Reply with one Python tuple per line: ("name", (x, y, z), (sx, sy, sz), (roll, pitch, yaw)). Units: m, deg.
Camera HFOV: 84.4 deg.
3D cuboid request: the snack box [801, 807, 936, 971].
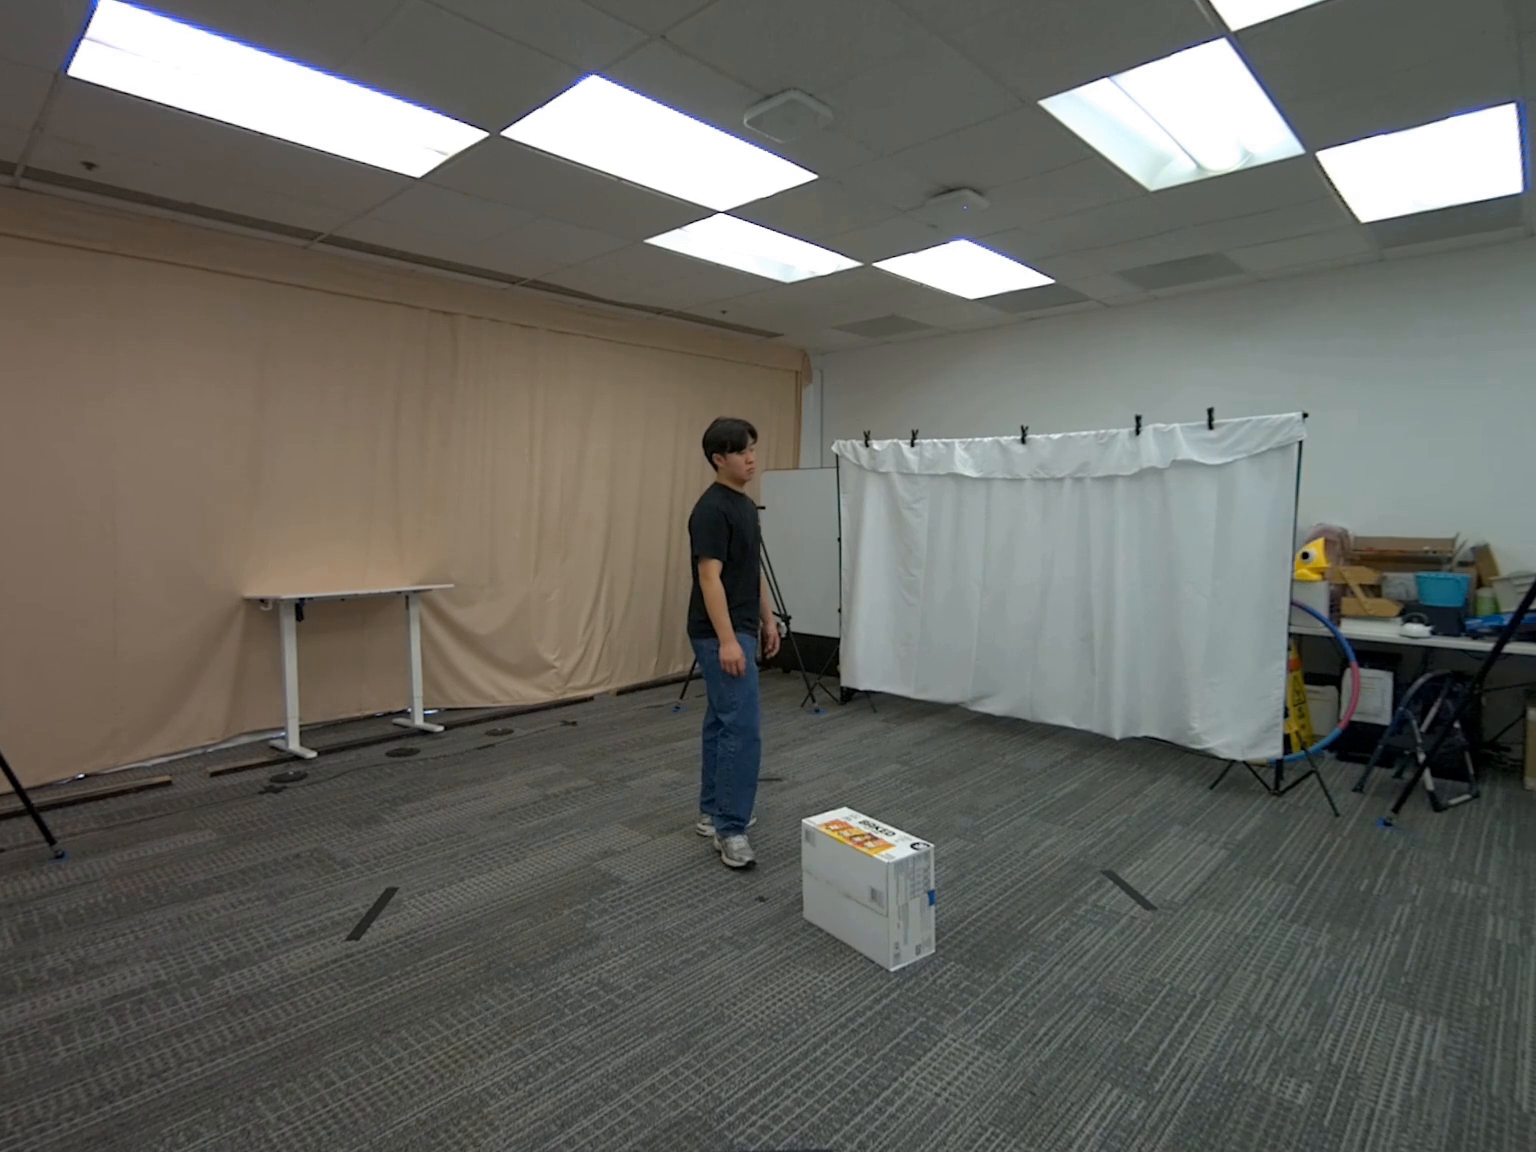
("snack box", (0.324, 0.996, 2.719), (0.200, 0.339, 0.418), (-4, 5, -36))
